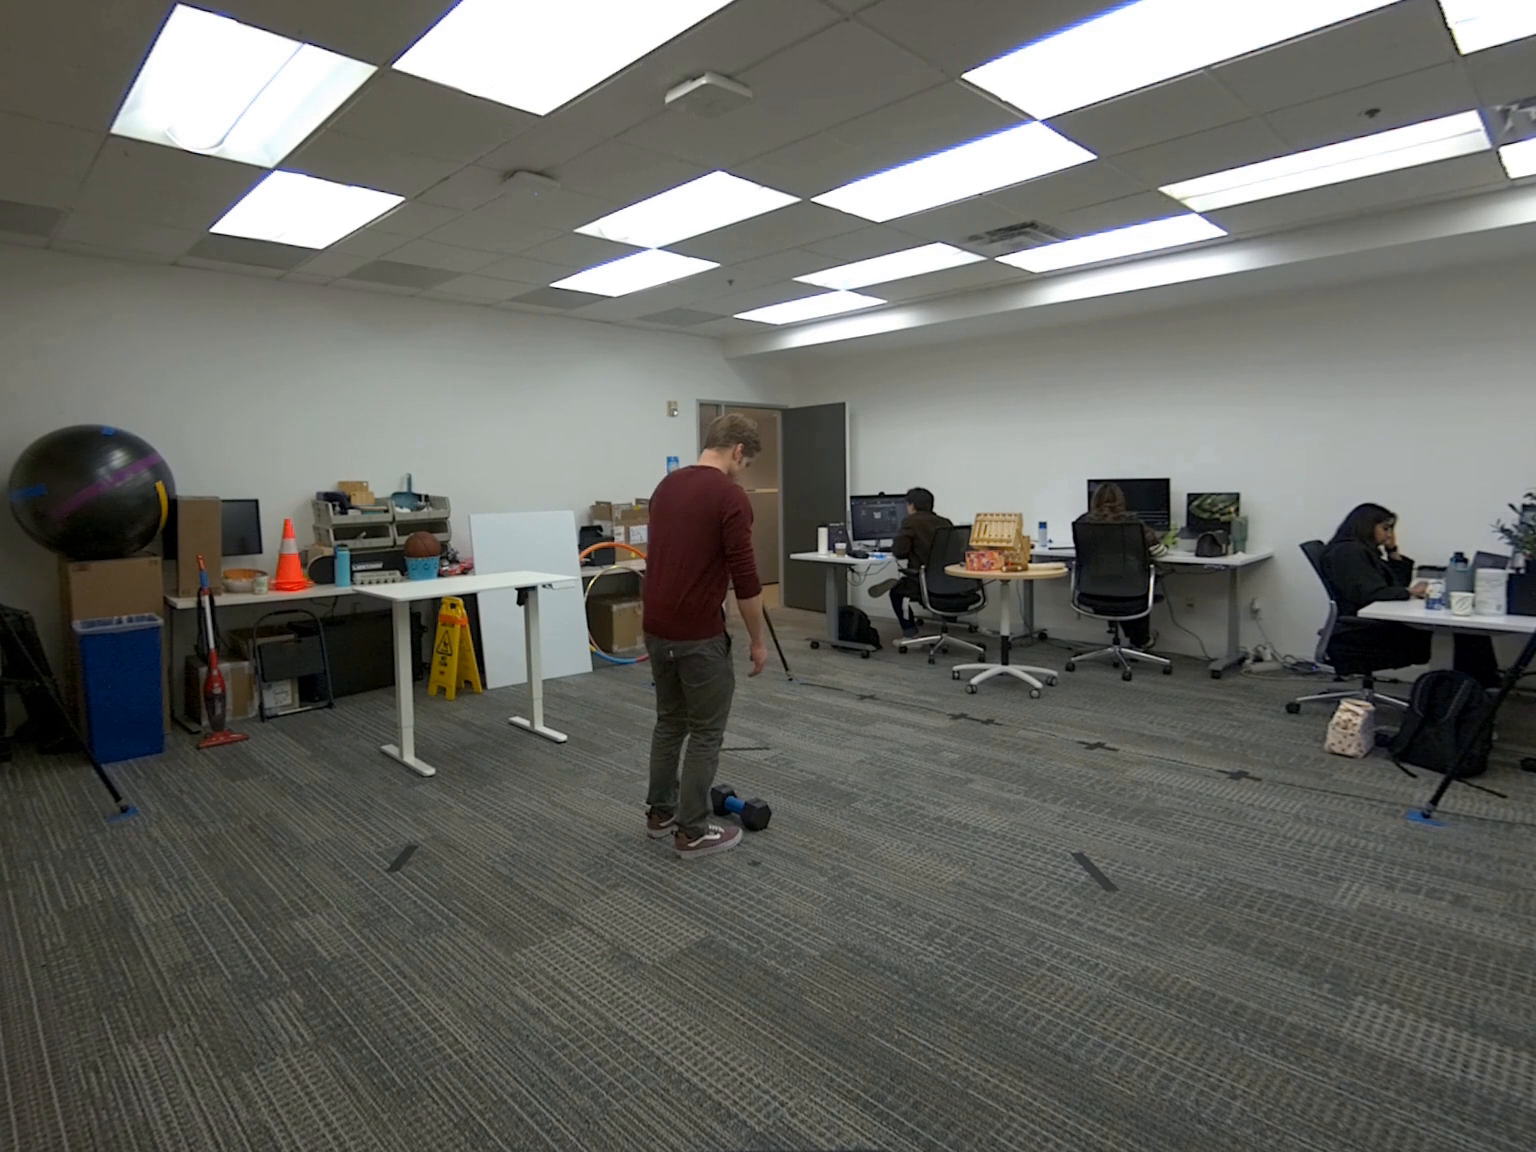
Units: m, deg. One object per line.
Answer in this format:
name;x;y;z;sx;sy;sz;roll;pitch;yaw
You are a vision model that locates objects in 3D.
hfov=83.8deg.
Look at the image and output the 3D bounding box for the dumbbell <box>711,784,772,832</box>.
dumbbell;-0.118;0.948;3.505;0.105;0.124;0.303;34;-18;-37
